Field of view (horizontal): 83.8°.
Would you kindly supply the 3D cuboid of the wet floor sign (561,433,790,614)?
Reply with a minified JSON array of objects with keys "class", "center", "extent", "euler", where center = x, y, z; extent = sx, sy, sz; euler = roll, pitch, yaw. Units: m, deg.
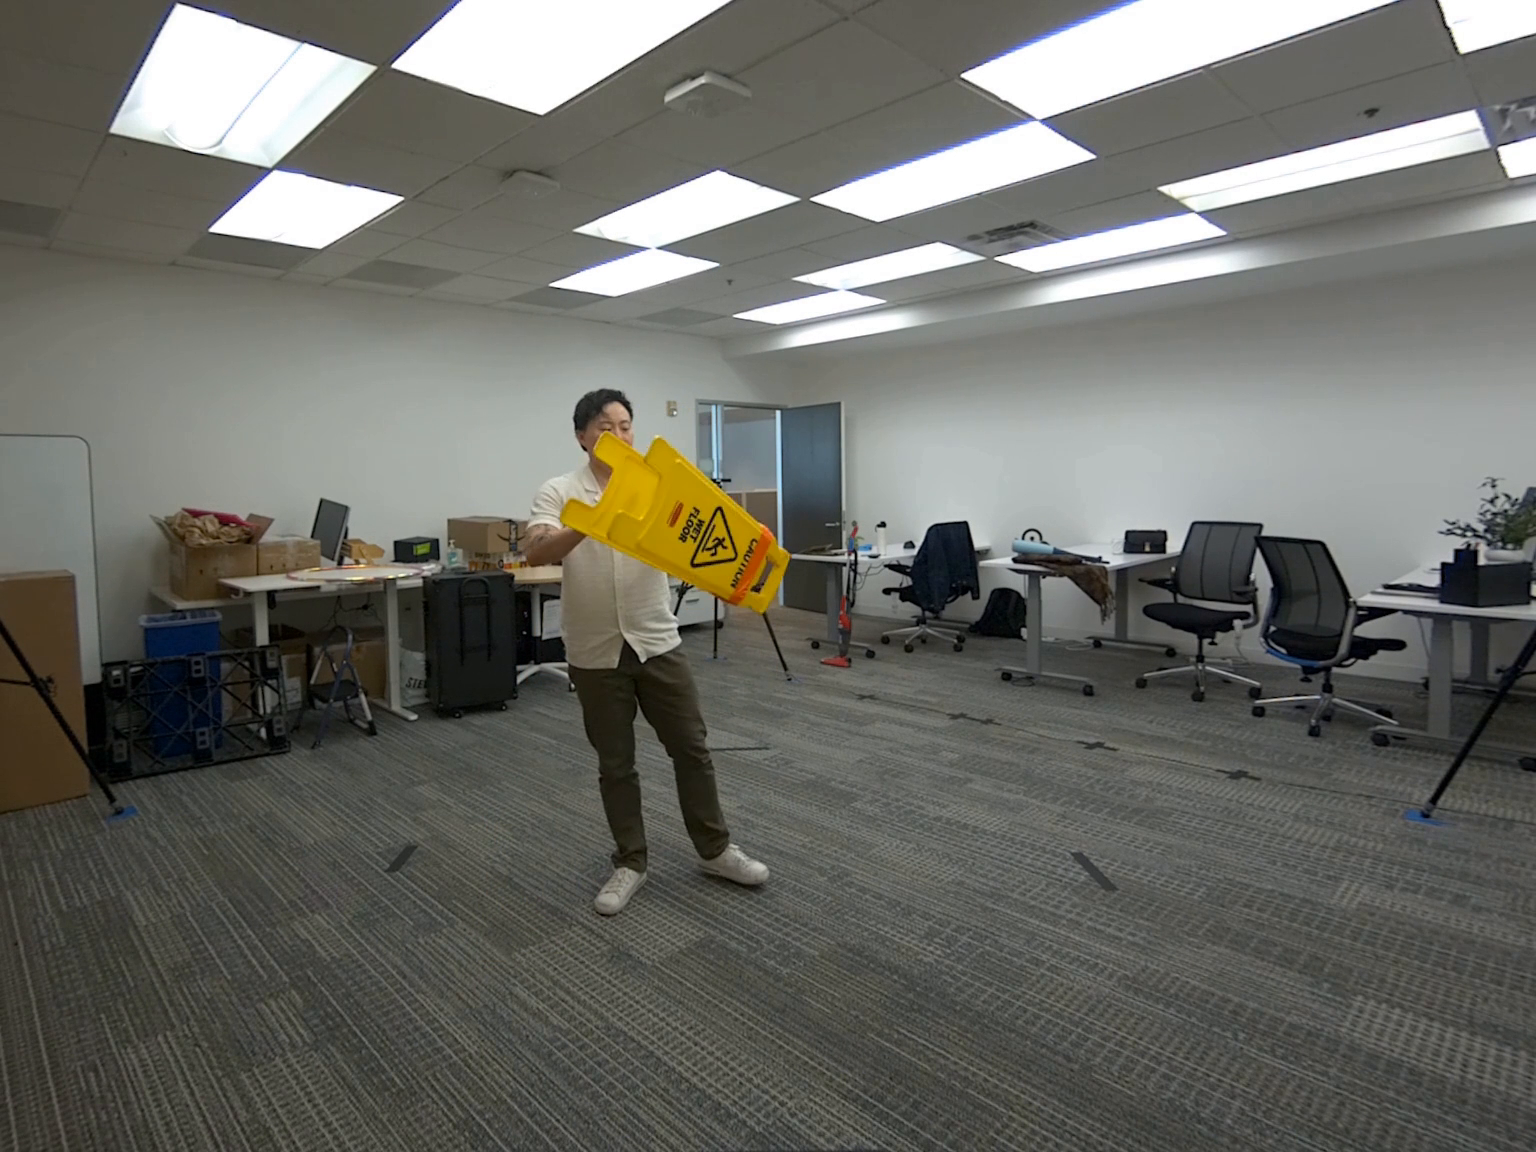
[{"class":"wet floor sign","center":[-0.190,-0.106,2.331],"extent":[0.623,0.283,0.299],"euler":[31,-9,-34]}]
